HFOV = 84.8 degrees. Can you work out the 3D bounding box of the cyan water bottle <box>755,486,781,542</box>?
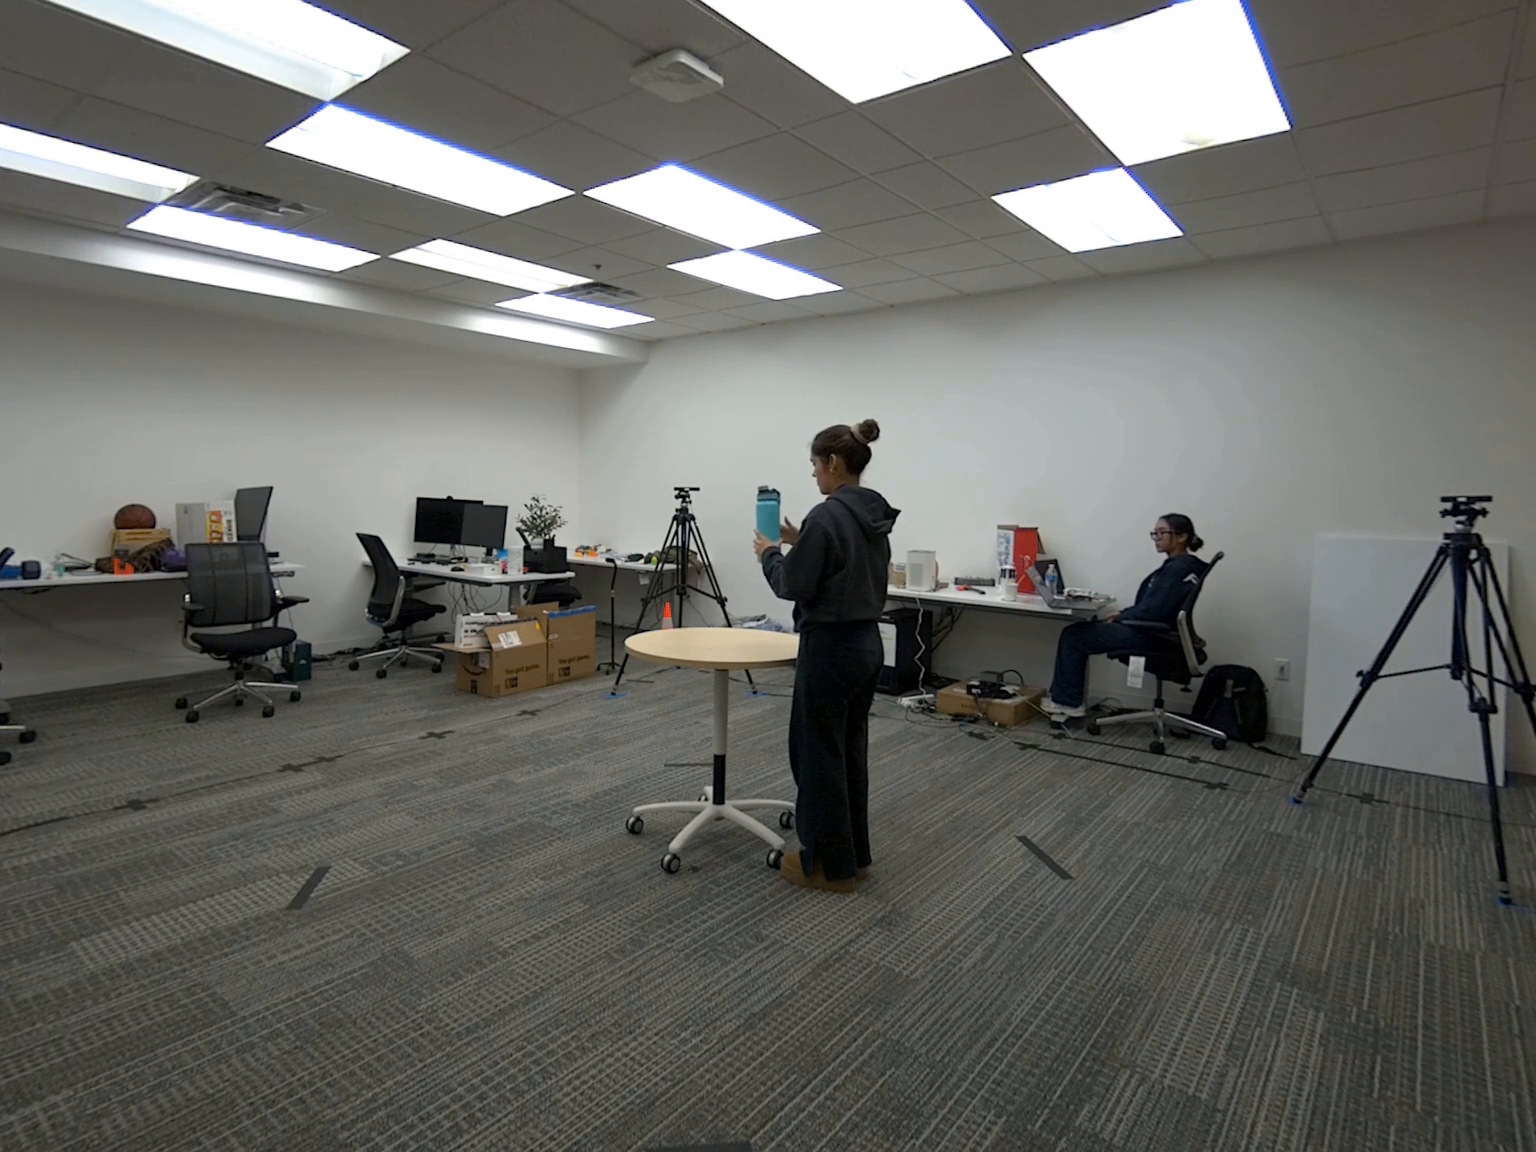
[{"bbox_3d":[0.012,-0.175,3.154,0.092,0.283,0.092,0,0,-2],"label":"cyan water bottle"}]
